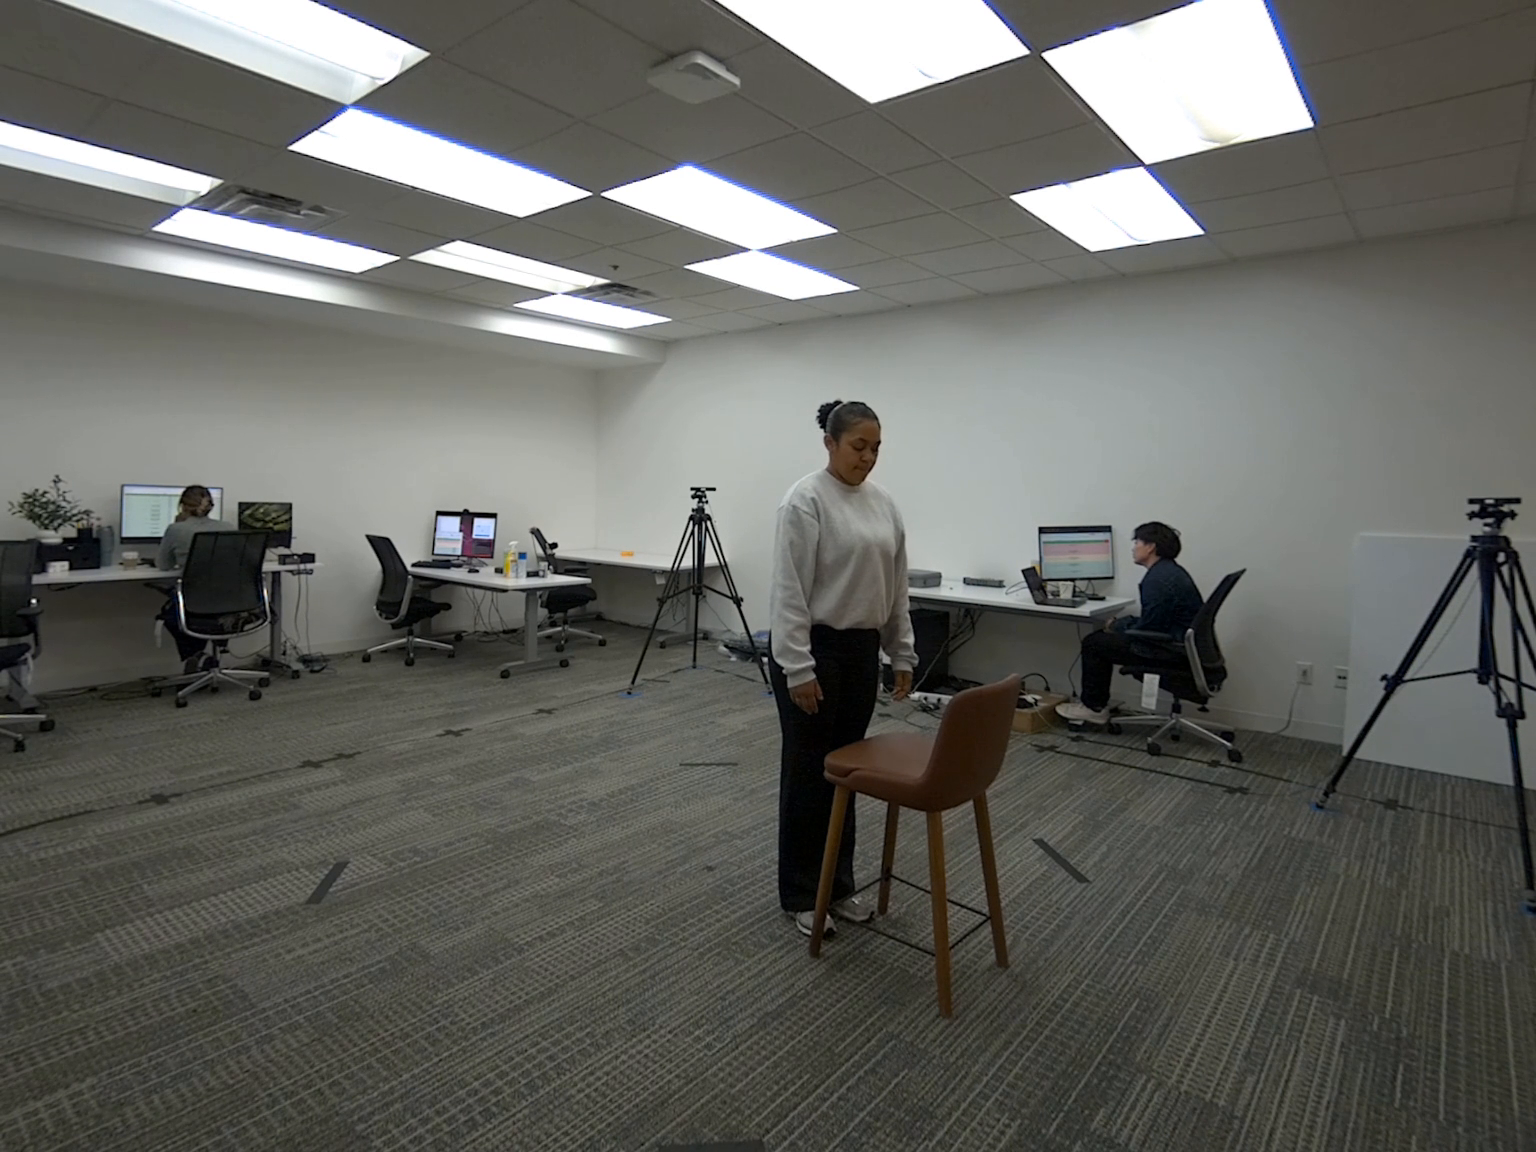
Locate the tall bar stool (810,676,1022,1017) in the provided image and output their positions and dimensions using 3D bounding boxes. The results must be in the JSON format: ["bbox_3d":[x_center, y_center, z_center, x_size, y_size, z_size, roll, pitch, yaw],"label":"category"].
[{"bbox_3d":[0.432,0.699,2.512,0.484,0.887,0.442,6,5,41],"label":"tall bar stool"}]
